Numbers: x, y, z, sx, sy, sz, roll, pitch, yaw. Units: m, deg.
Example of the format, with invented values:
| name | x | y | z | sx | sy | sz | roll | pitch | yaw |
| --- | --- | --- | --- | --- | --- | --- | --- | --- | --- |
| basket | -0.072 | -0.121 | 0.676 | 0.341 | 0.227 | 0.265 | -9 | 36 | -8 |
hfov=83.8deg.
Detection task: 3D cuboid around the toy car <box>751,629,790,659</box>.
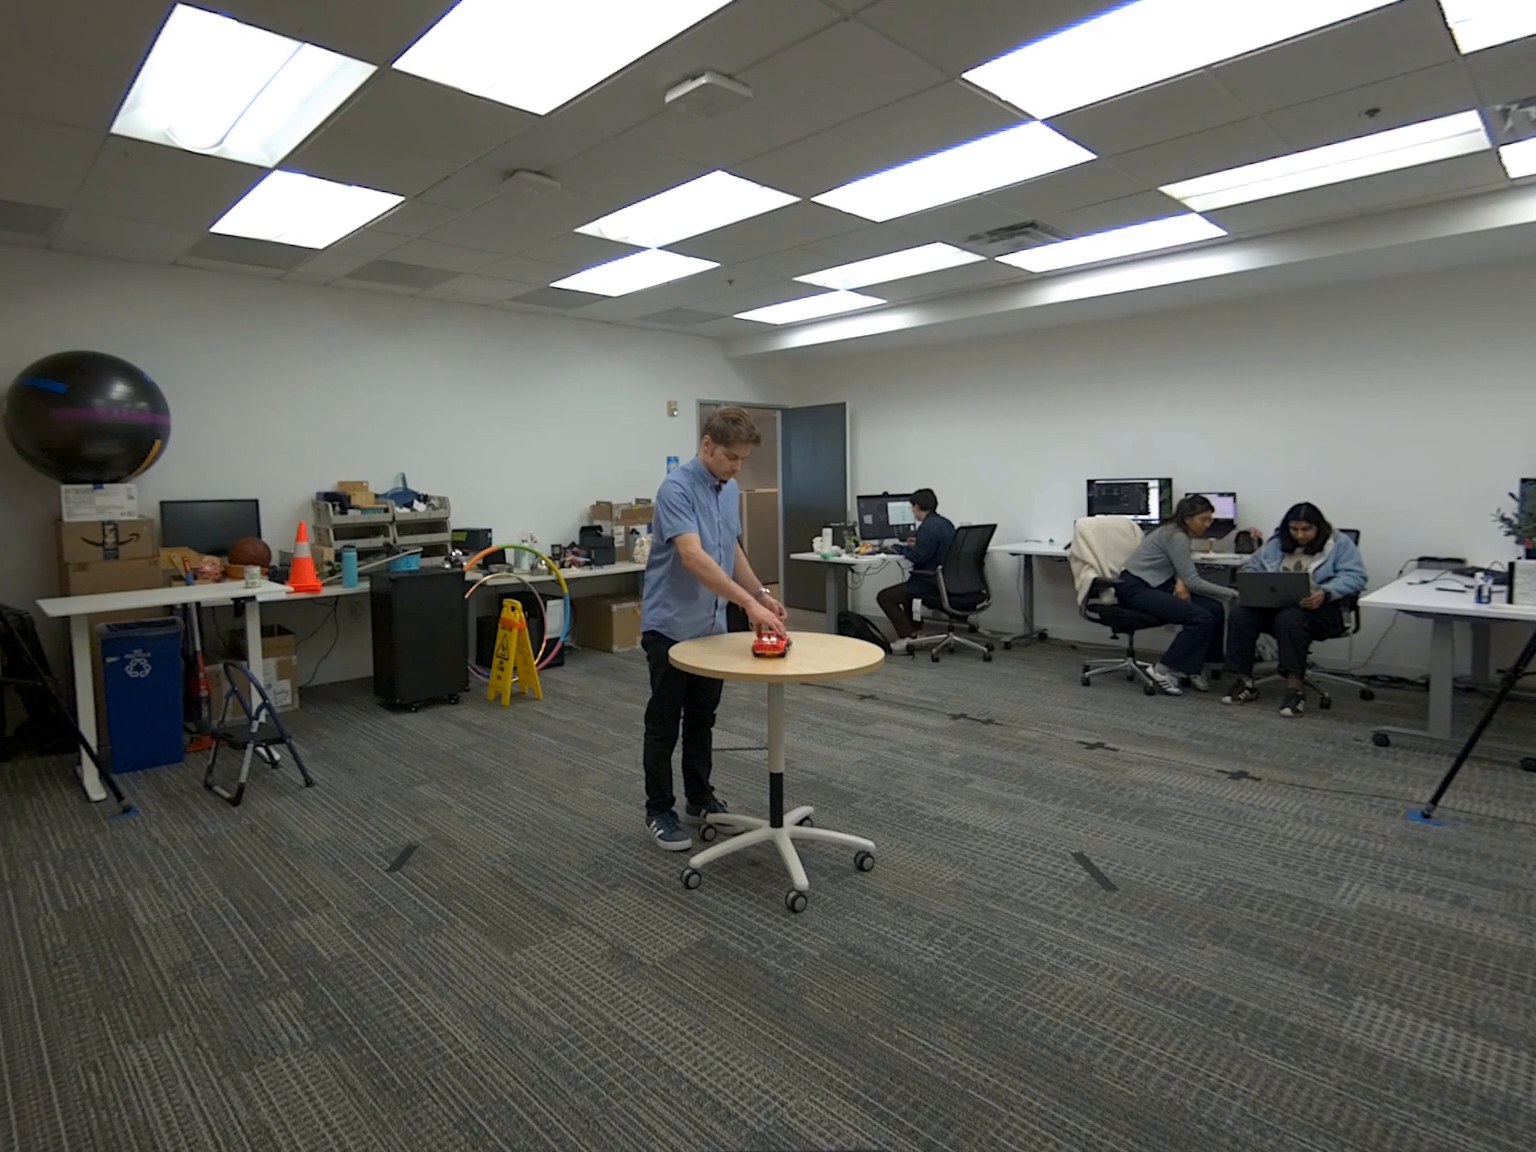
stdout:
| name | x | y | z | sx | sy | sz | roll | pitch | yaw |
| --- | --- | --- | --- | --- | --- | --- | --- | --- | --- |
| toy car | 0.011 | 0.243 | 2.990 | 0.131 | 0.084 | 0.251 | 1 | -5 | 8 |
